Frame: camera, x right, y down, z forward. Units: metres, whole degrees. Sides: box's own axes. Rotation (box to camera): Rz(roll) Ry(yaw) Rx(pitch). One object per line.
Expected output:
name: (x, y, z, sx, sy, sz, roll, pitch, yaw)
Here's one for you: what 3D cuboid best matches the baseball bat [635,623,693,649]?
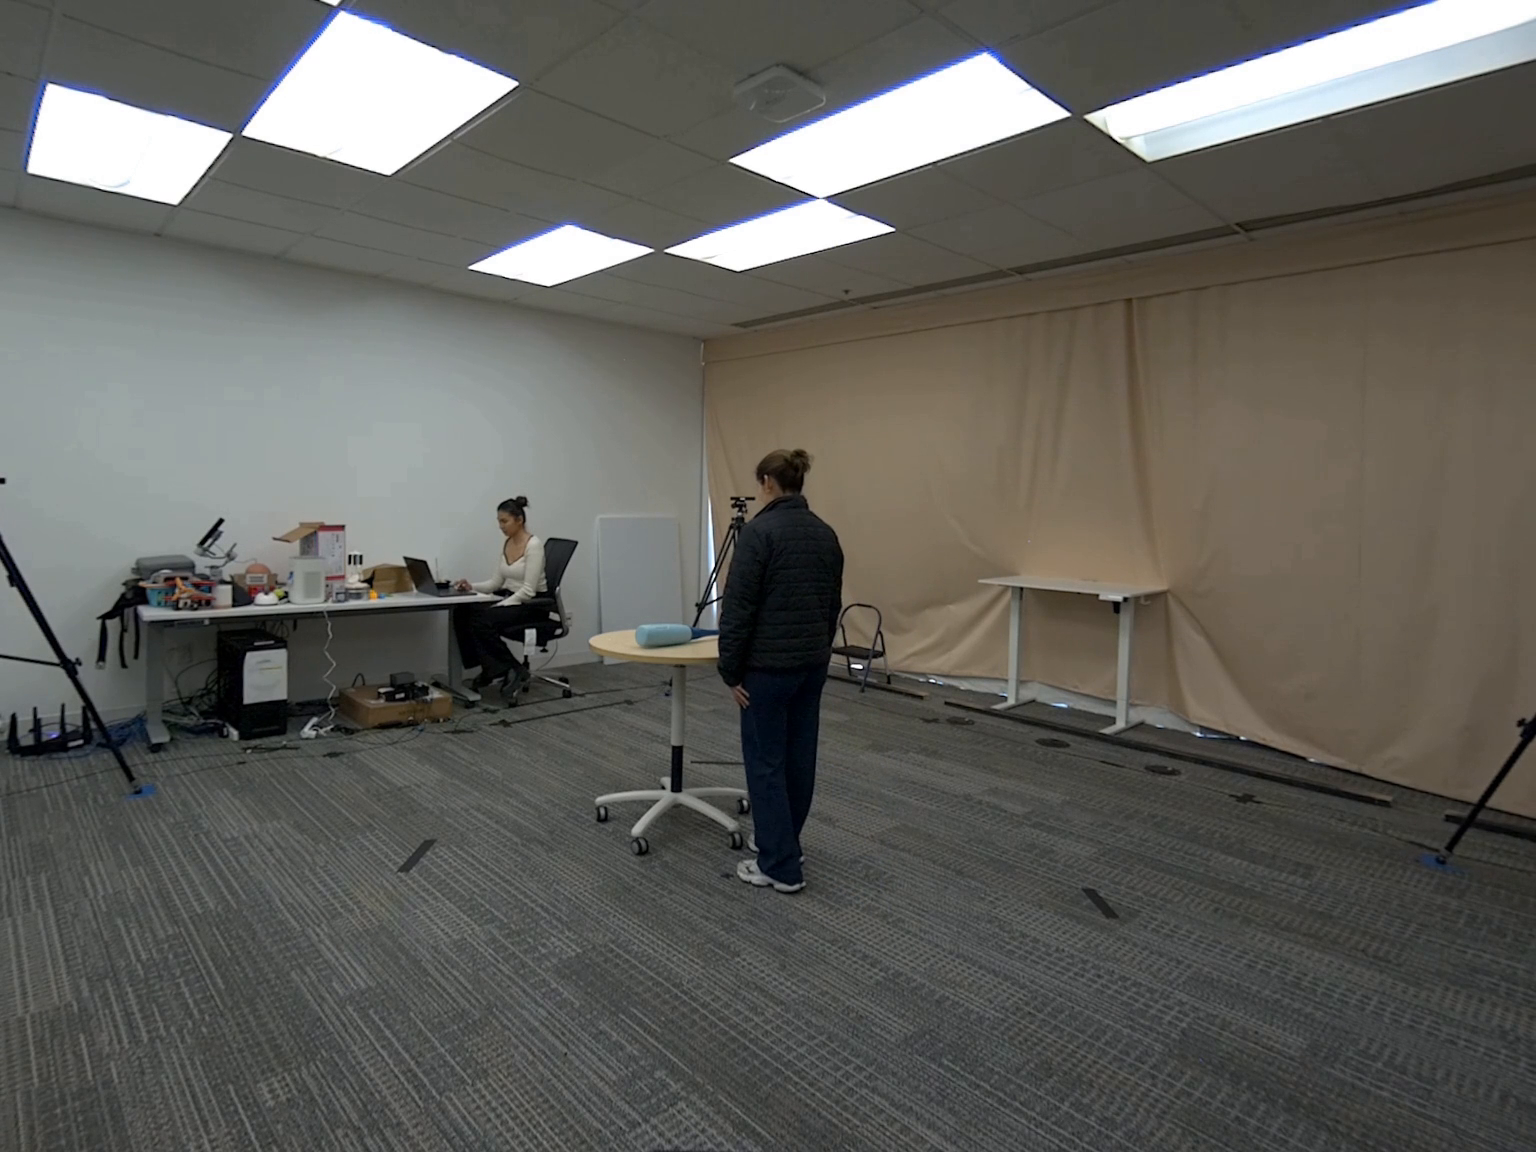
baseball bat: (-0.327, 0.245, 3.523, 0.091, 0.089, 0.530, 5, 2, 41)
